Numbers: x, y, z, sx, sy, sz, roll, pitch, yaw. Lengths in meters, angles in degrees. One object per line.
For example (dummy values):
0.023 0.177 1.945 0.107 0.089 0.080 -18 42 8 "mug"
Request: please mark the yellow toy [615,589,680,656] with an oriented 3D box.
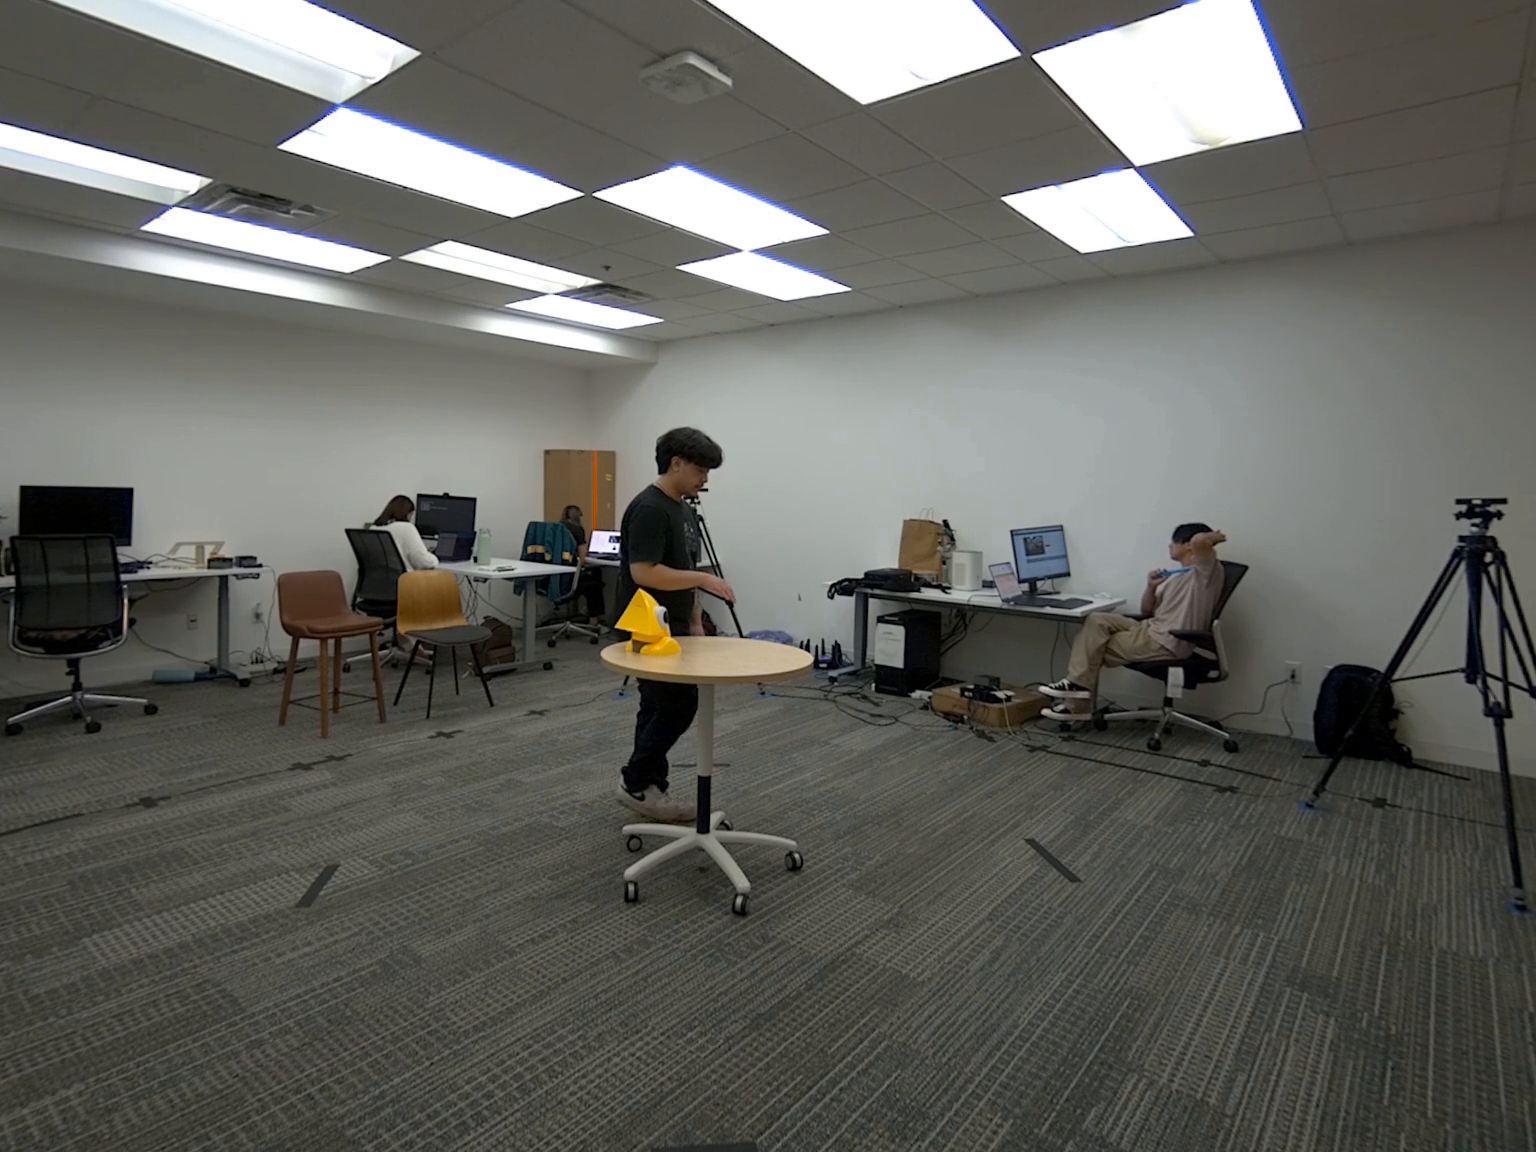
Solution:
-0.440 0.155 3.111 0.187 0.230 0.212 -2 4 -45 "yellow toy"
